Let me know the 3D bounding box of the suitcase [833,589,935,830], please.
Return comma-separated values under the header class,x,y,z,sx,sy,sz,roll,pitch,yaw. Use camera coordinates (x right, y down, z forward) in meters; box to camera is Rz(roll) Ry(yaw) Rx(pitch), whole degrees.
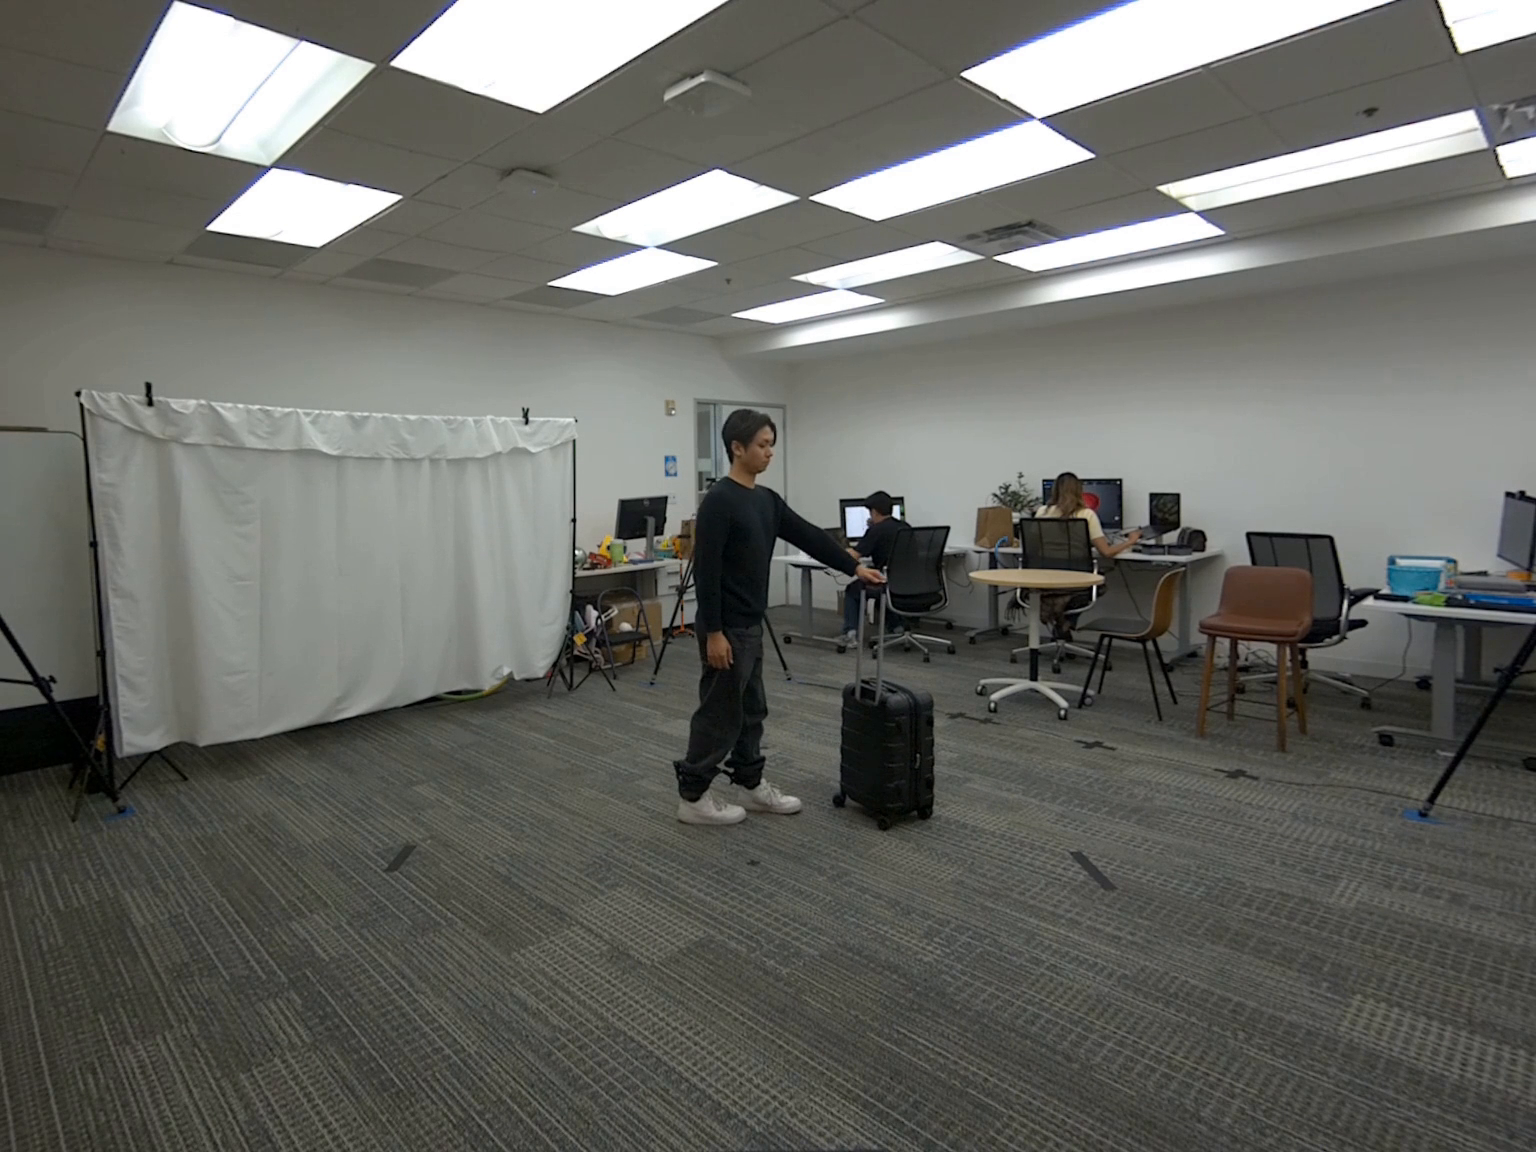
class,x,y,z,sx,sy,sz,roll,pitch,yaw
suitcase,0.494,0.505,3.531,0.250,0.976,0.395,1,3,-31
